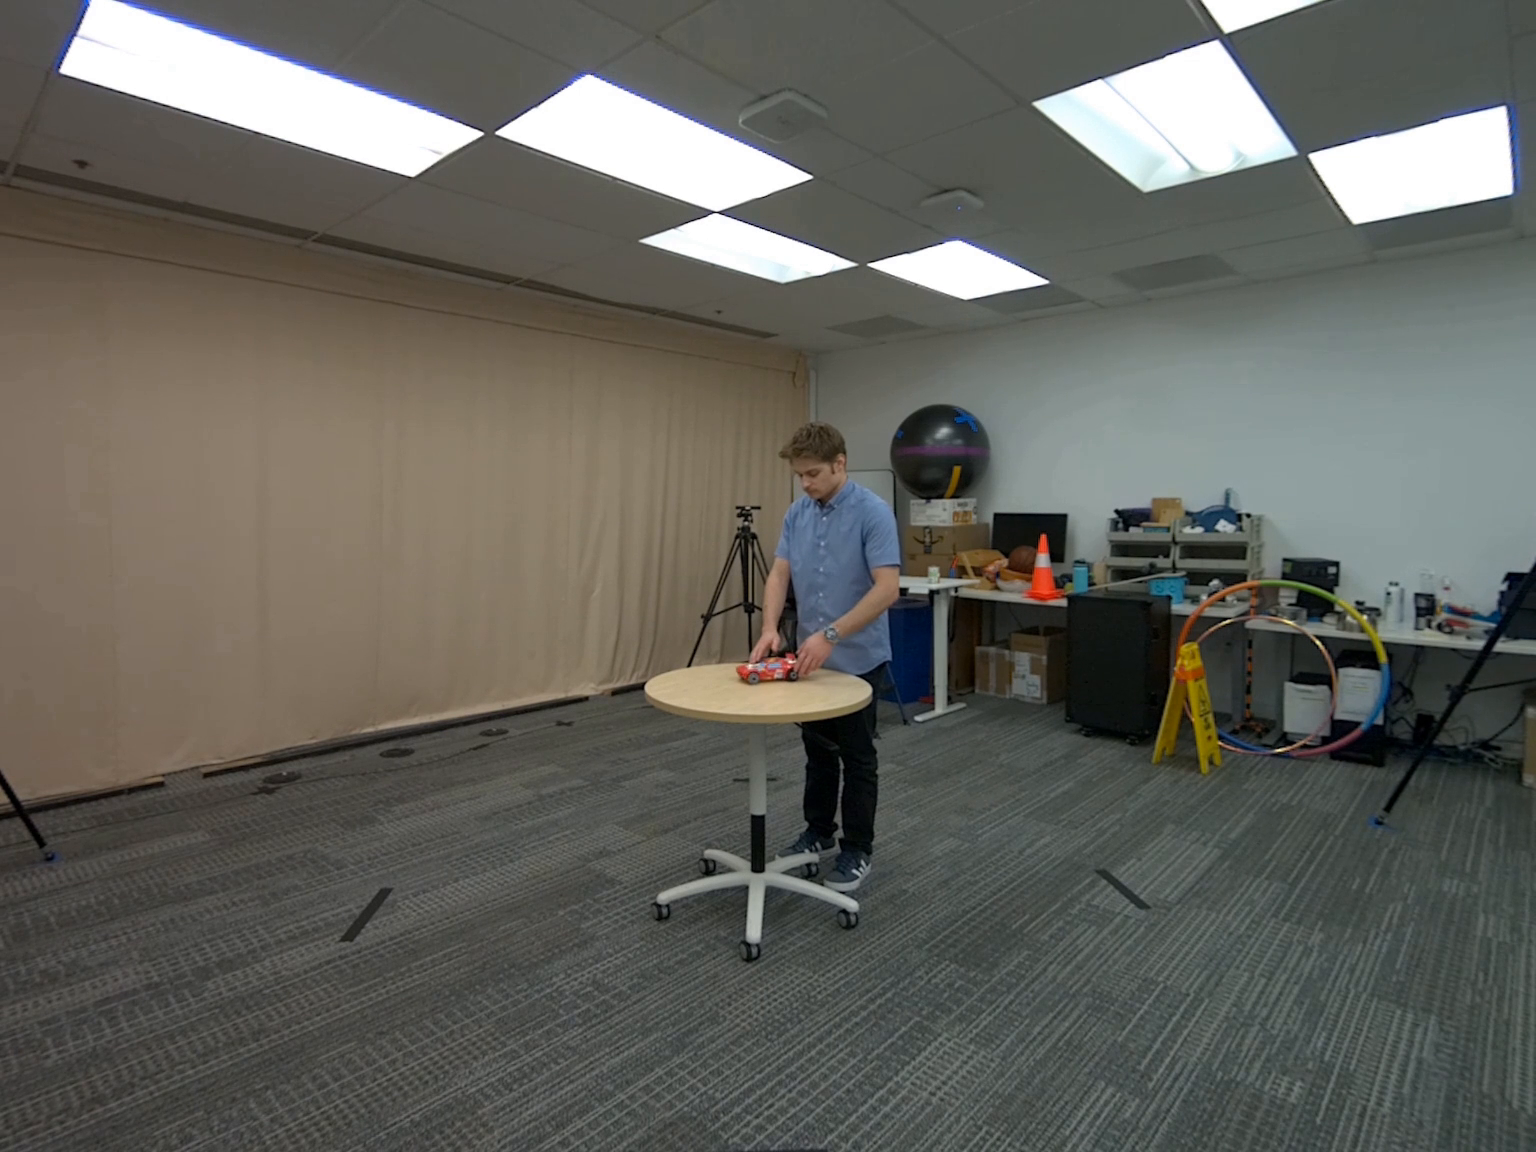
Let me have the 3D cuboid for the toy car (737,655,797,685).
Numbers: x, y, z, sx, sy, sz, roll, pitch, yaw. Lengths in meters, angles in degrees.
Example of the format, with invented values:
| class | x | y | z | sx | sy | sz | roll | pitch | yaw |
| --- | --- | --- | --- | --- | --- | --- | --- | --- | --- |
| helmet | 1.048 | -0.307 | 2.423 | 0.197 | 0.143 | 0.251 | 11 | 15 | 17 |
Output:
| class | x | y | z | sx | sy | sz | roll | pitch | yaw |
| --- | --- | --- | --- | --- | --- | --- | --- | --- | --- |
| toy car | 0.022 | 0.332 | 2.940 | 0.251 | 0.083 | 0.133 | -13 | 8 | -15 |
